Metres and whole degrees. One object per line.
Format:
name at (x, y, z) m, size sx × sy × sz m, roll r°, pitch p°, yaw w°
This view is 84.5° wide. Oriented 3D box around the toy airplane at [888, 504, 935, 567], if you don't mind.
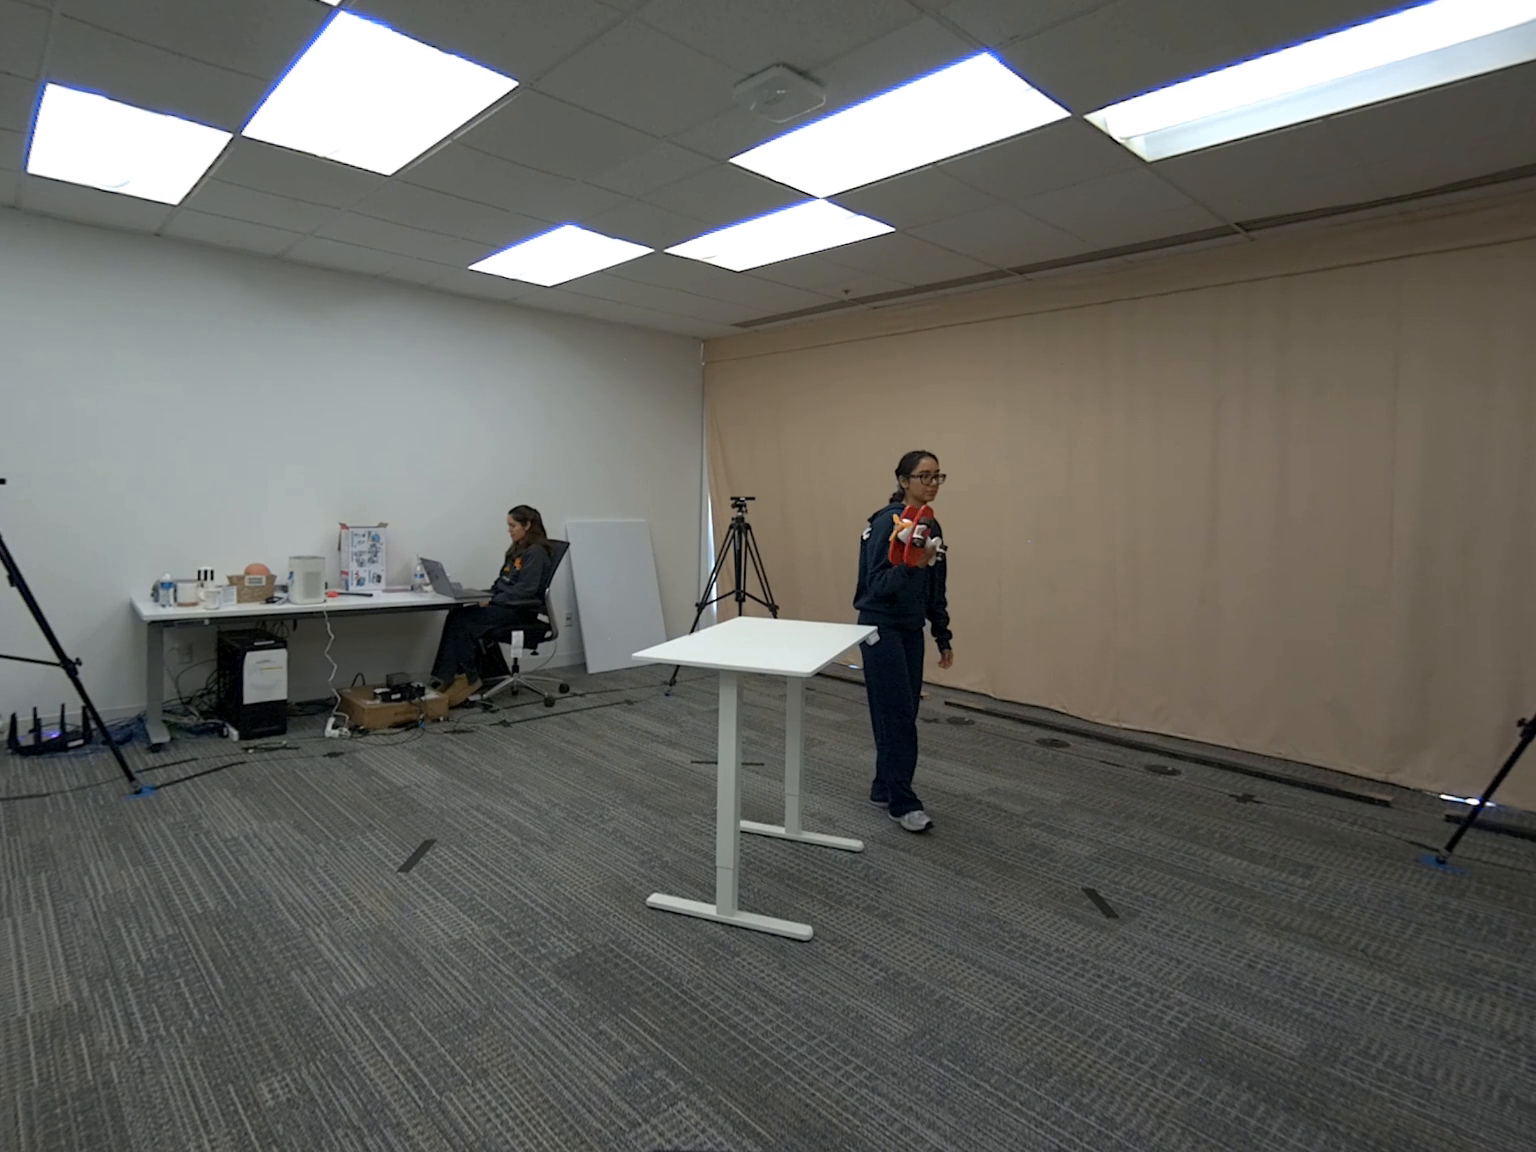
toy airplane at (0.590, -0.129, 3.352) m, size 0.161 × 0.252 × 0.251 m, roll 11°, pitch 45°, yaw 39°
